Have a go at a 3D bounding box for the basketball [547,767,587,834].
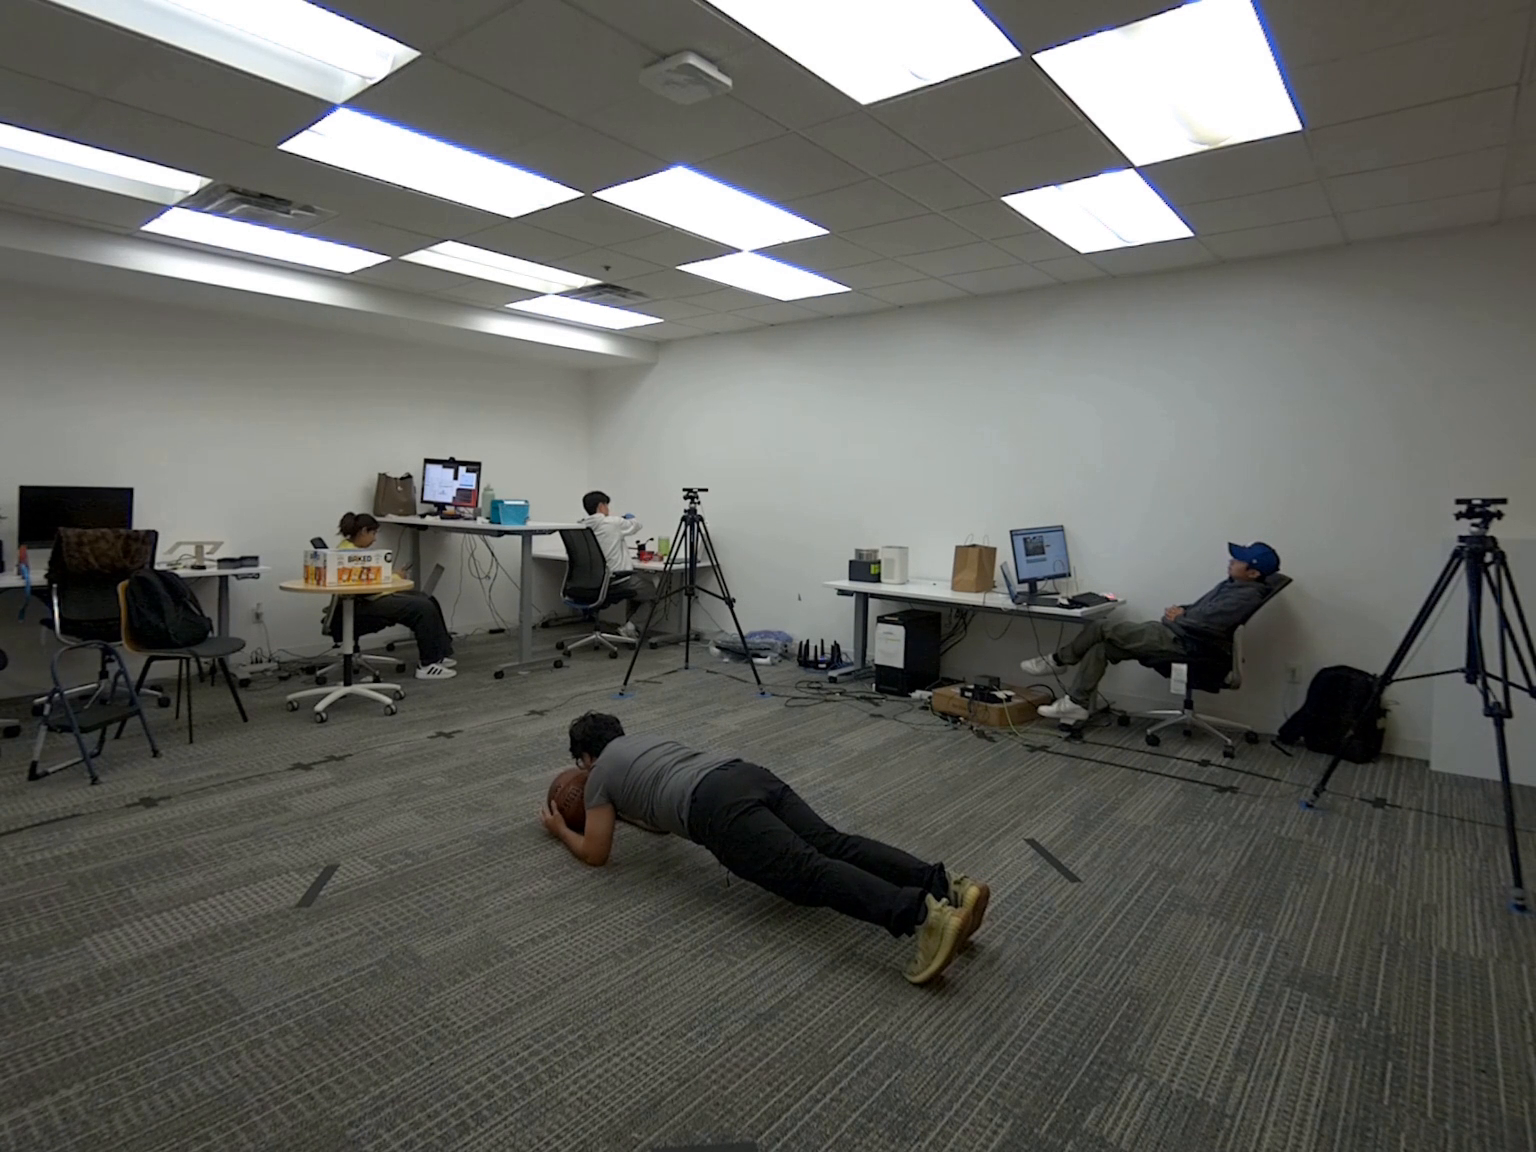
[{"bbox_3d":[-0.779,0.906,3.469,0.235,0.235,0.237,1,4,-2],"label":"basketball"}]
